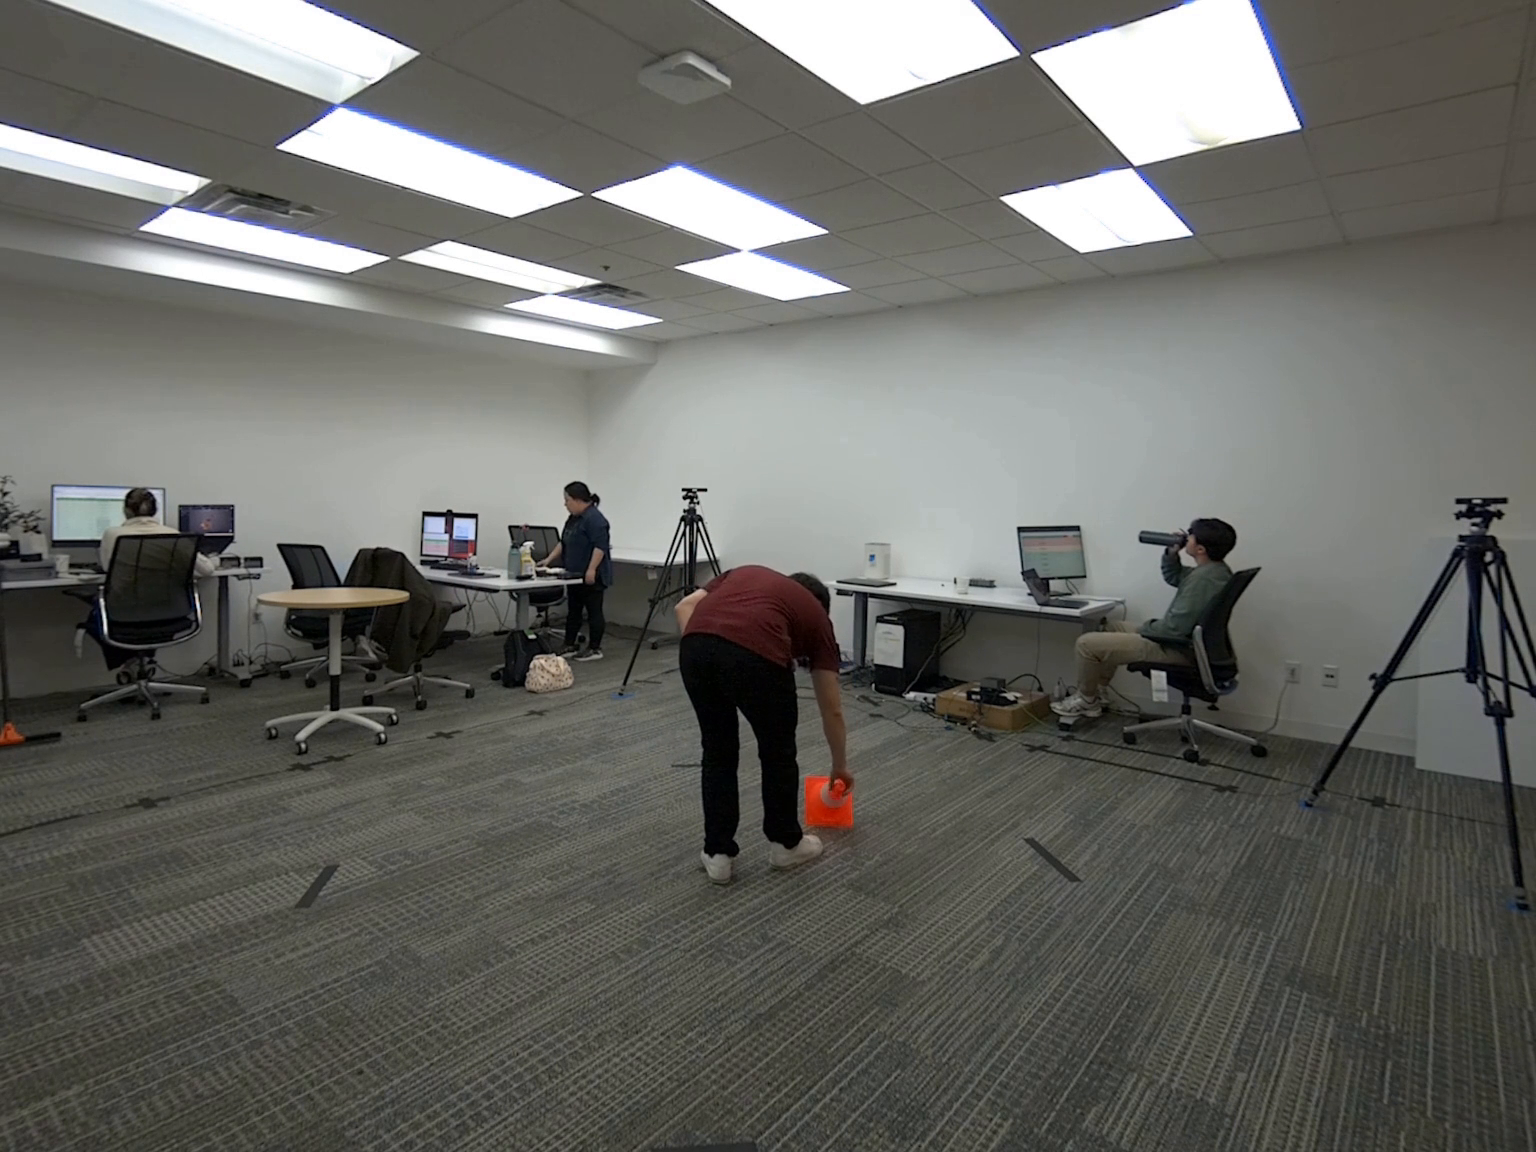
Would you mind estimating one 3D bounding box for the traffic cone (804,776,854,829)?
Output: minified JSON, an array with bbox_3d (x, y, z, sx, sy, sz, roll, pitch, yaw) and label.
[{"bbox_3d":[0.261,0.876,3.418,0.205,0.207,0.377,9,-23,-2],"label":"traffic cone"}]
